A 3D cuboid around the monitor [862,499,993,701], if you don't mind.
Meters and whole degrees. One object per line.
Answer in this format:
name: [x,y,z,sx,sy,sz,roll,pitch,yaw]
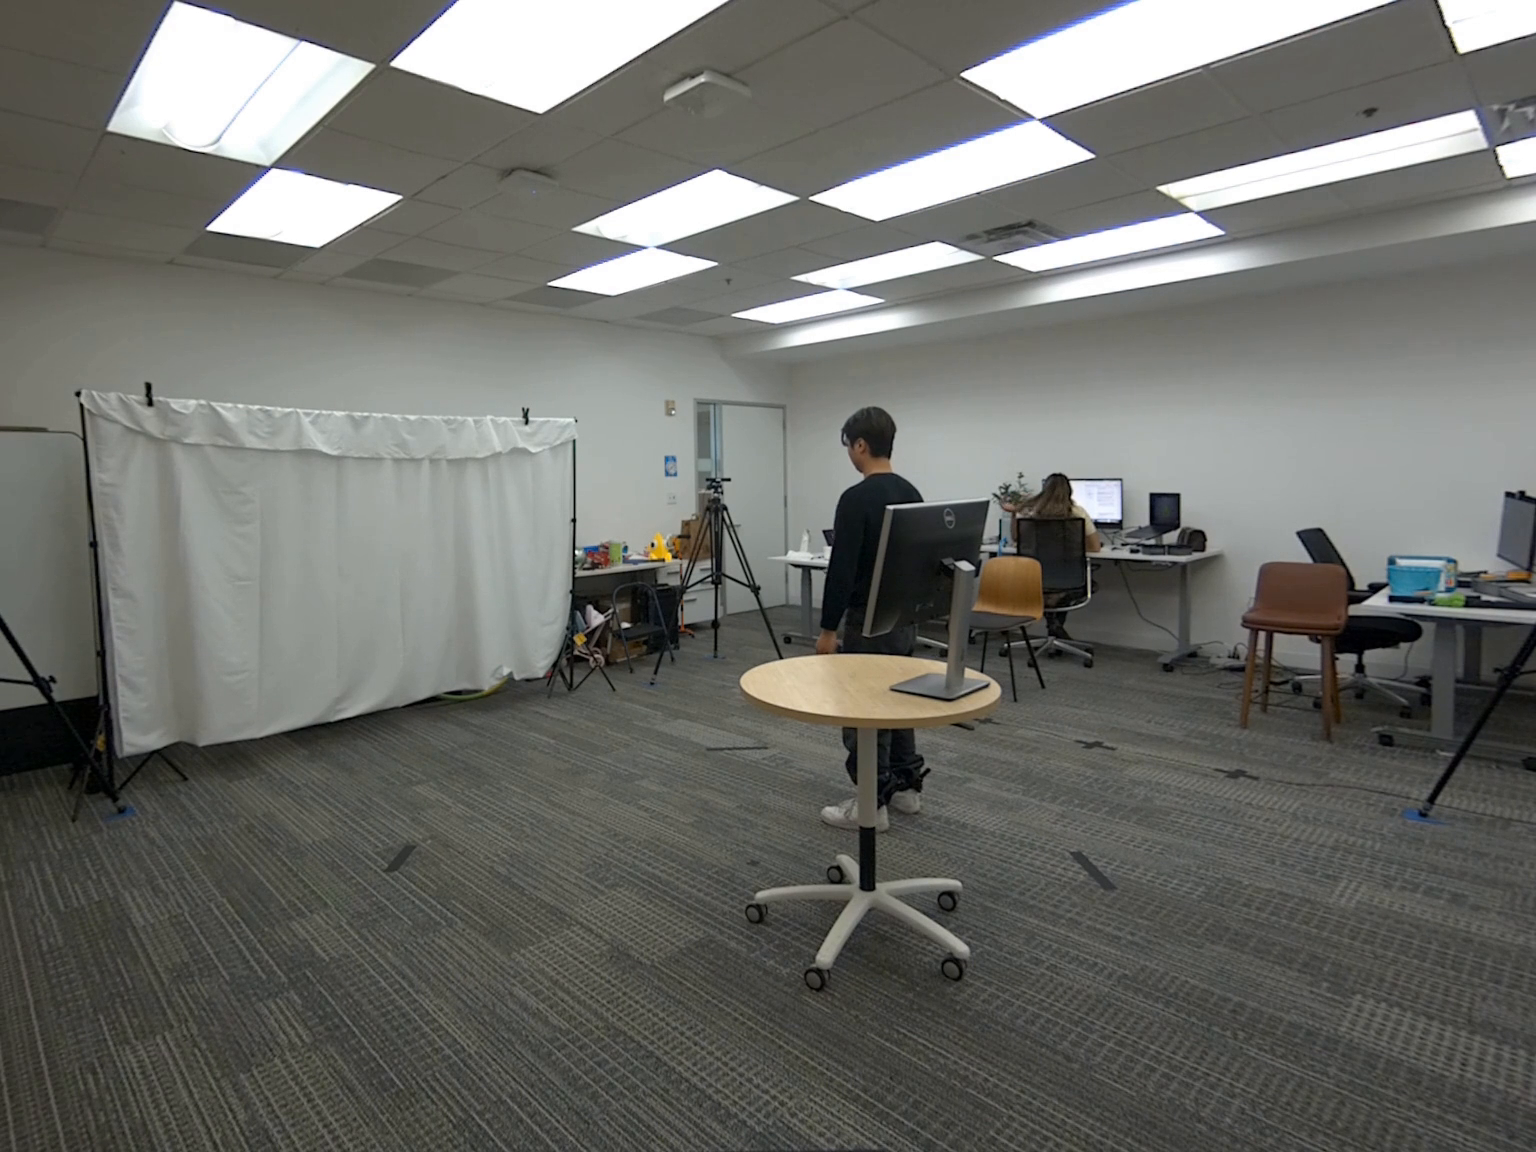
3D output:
monitor: [0.500,0.062,2.462,0.192,0.521,0.525,1,5,39]
